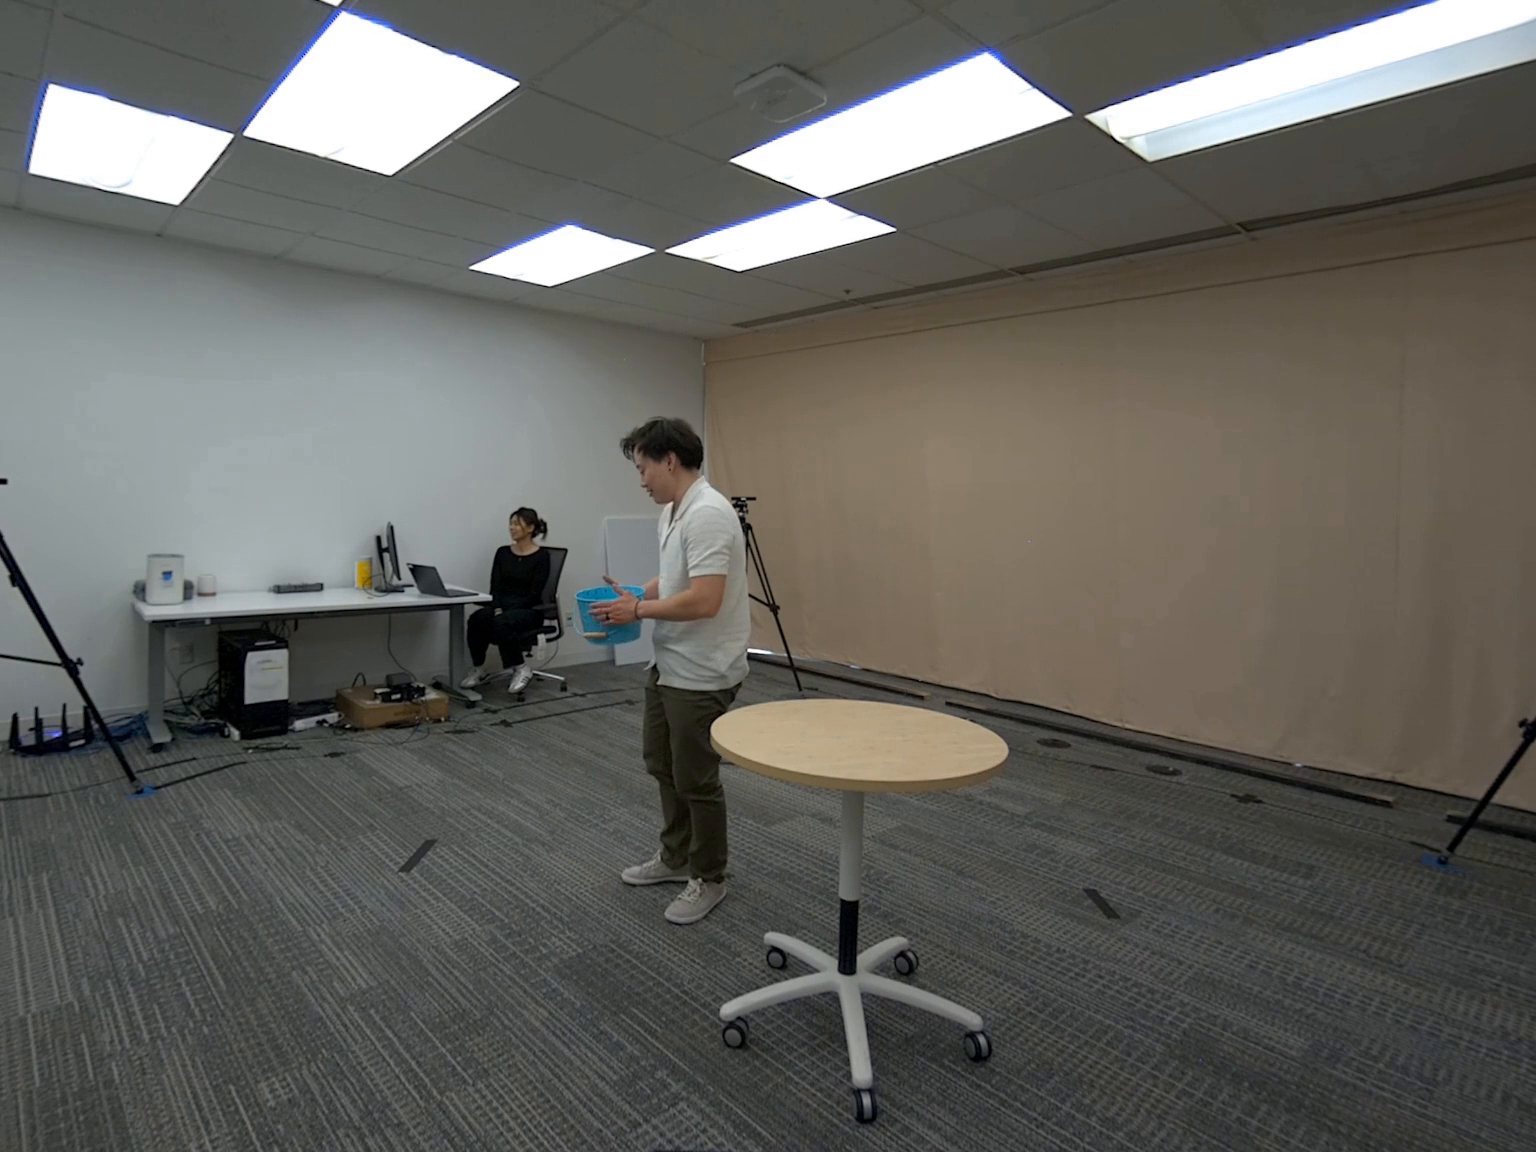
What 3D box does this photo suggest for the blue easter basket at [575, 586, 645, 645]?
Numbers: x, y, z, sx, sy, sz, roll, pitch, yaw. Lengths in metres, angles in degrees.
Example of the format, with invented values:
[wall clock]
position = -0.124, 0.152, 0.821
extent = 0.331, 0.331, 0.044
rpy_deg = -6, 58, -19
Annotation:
[blue easter basket]
position = -0.520, 0.134, 2.757
extent = 0.243, 0.155, 0.245
rpy_deg = -2, 10, -1
